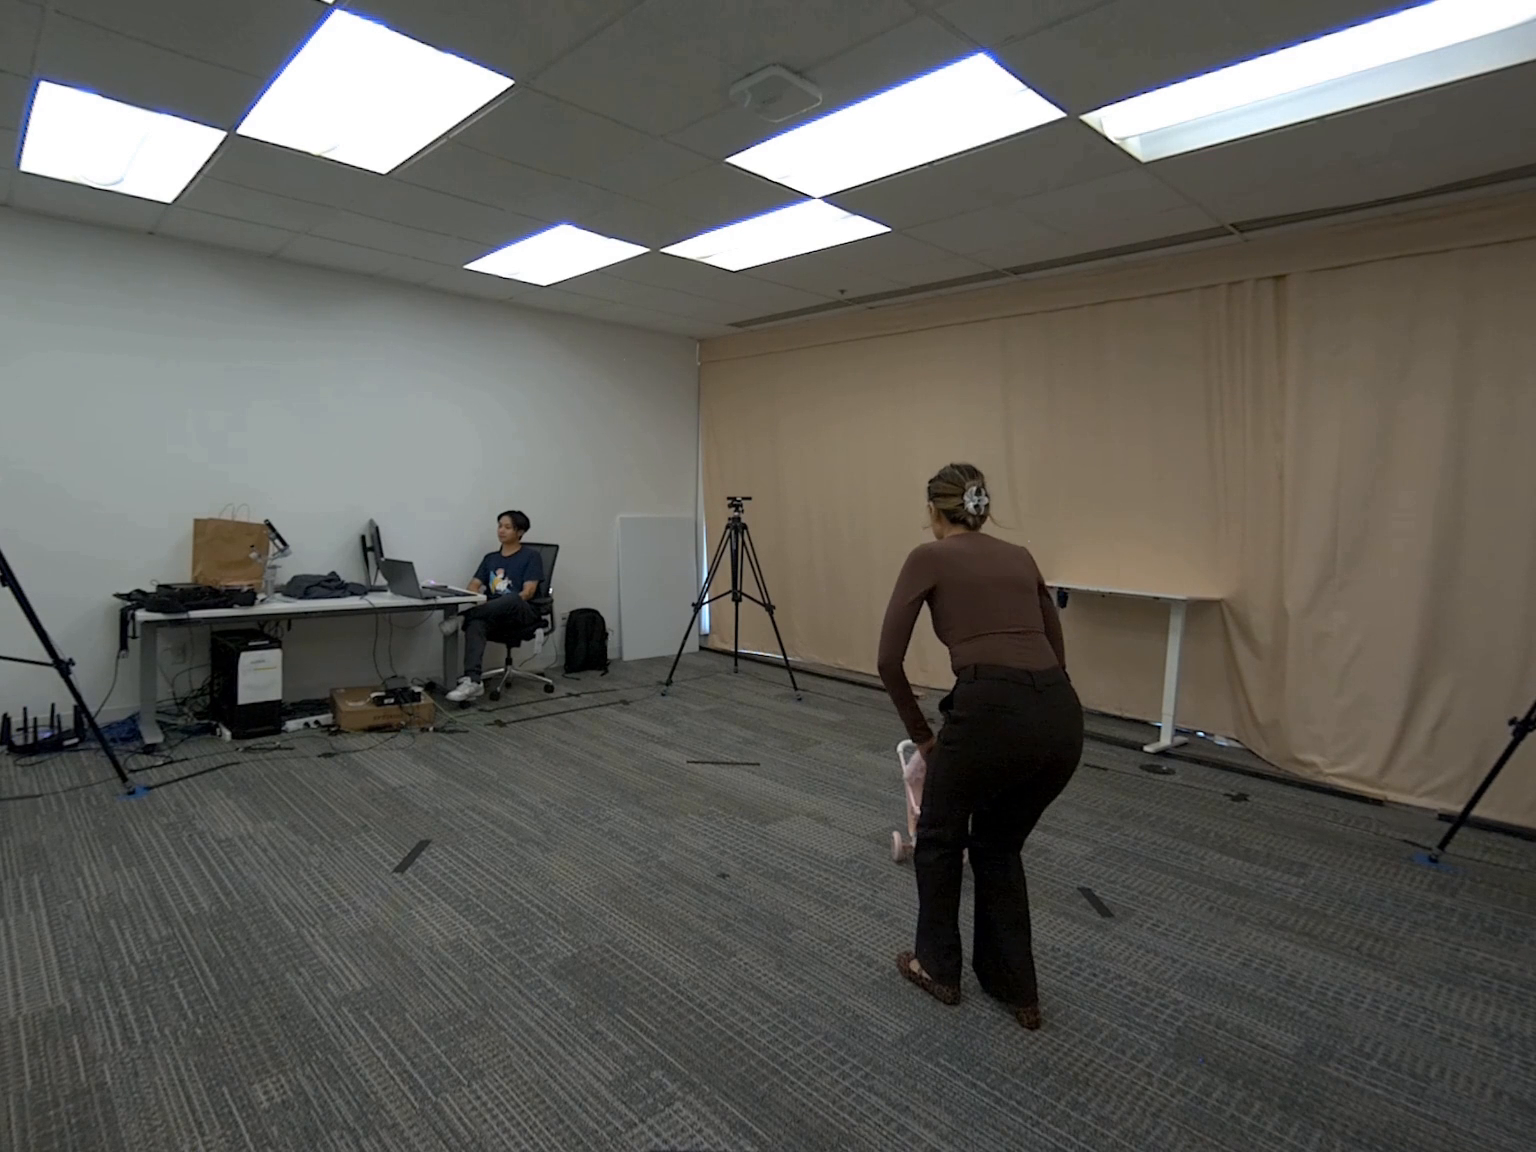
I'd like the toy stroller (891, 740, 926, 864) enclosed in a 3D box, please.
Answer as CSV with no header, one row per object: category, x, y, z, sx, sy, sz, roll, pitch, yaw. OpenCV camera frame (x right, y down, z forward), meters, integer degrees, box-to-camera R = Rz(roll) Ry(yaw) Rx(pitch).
toy stroller,0.631,0.895,3.215,0.281,0.540,0.338,1,-13,-1
